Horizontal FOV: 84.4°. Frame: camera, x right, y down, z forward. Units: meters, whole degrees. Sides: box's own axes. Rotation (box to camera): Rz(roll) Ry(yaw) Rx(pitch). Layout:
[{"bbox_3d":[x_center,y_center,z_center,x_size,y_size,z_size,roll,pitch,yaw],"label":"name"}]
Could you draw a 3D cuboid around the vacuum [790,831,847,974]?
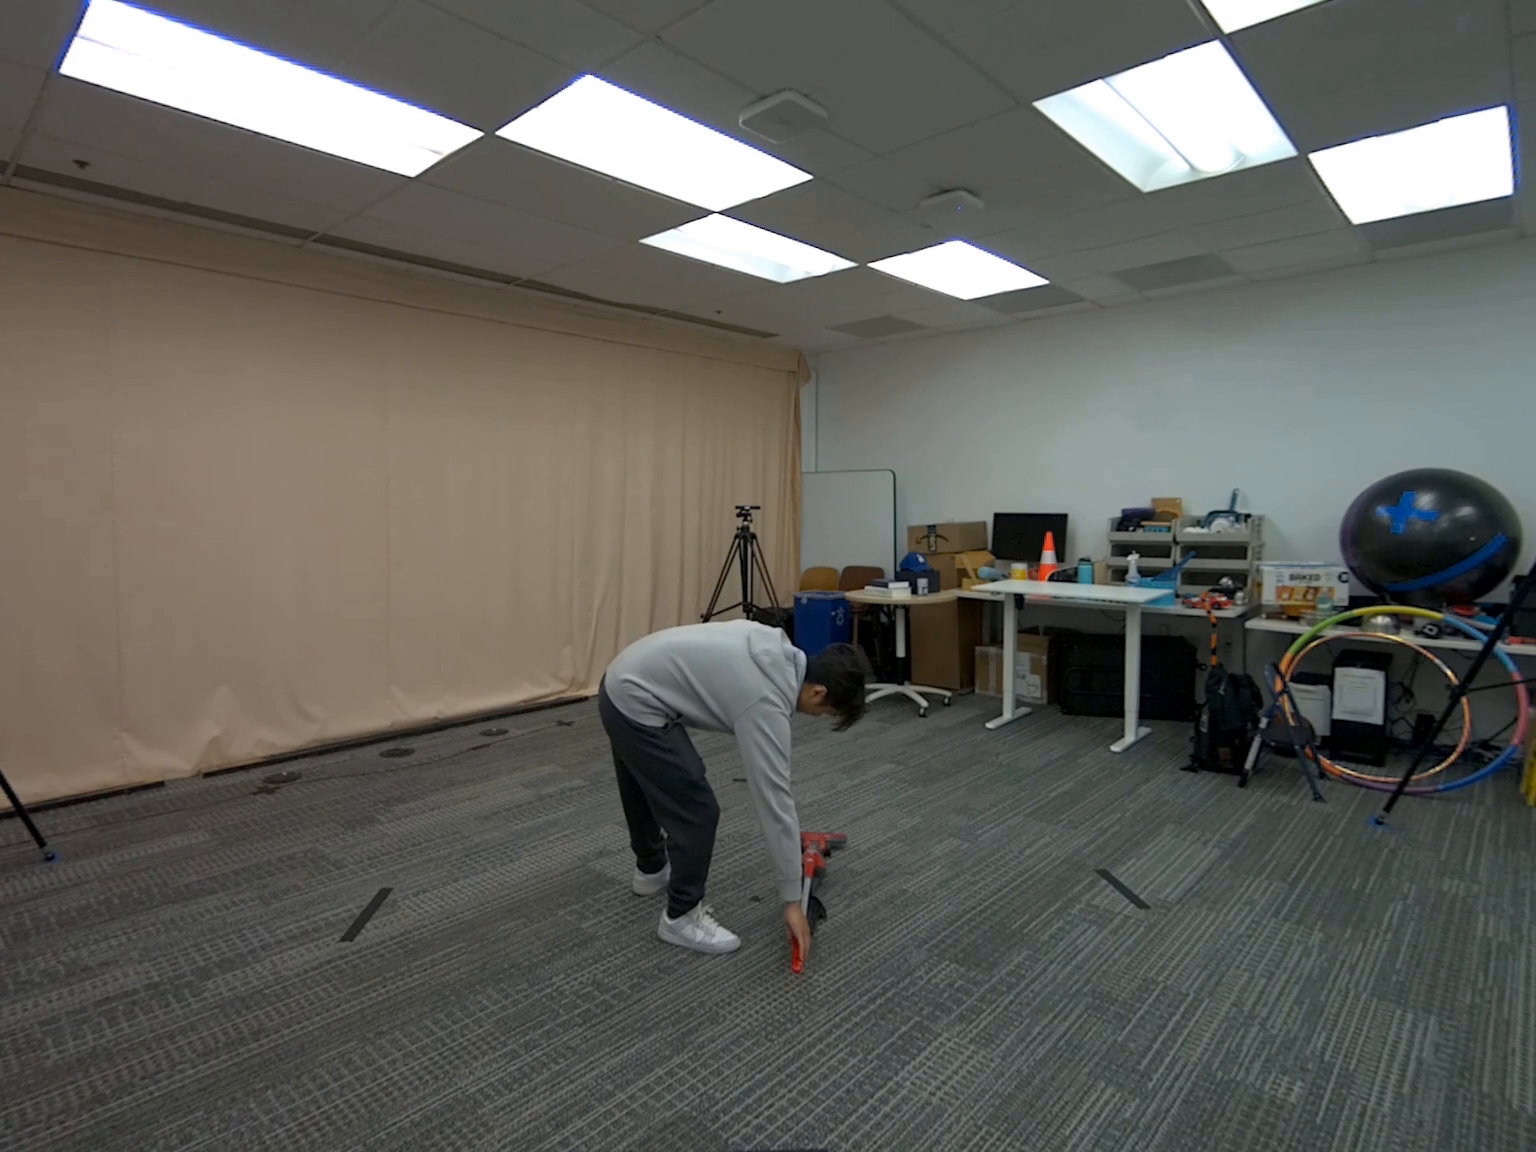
[{"bbox_3d":[0.133,1.073,2.876,0.254,0.144,1.042,6,2,5],"label":"vacuum"}]
